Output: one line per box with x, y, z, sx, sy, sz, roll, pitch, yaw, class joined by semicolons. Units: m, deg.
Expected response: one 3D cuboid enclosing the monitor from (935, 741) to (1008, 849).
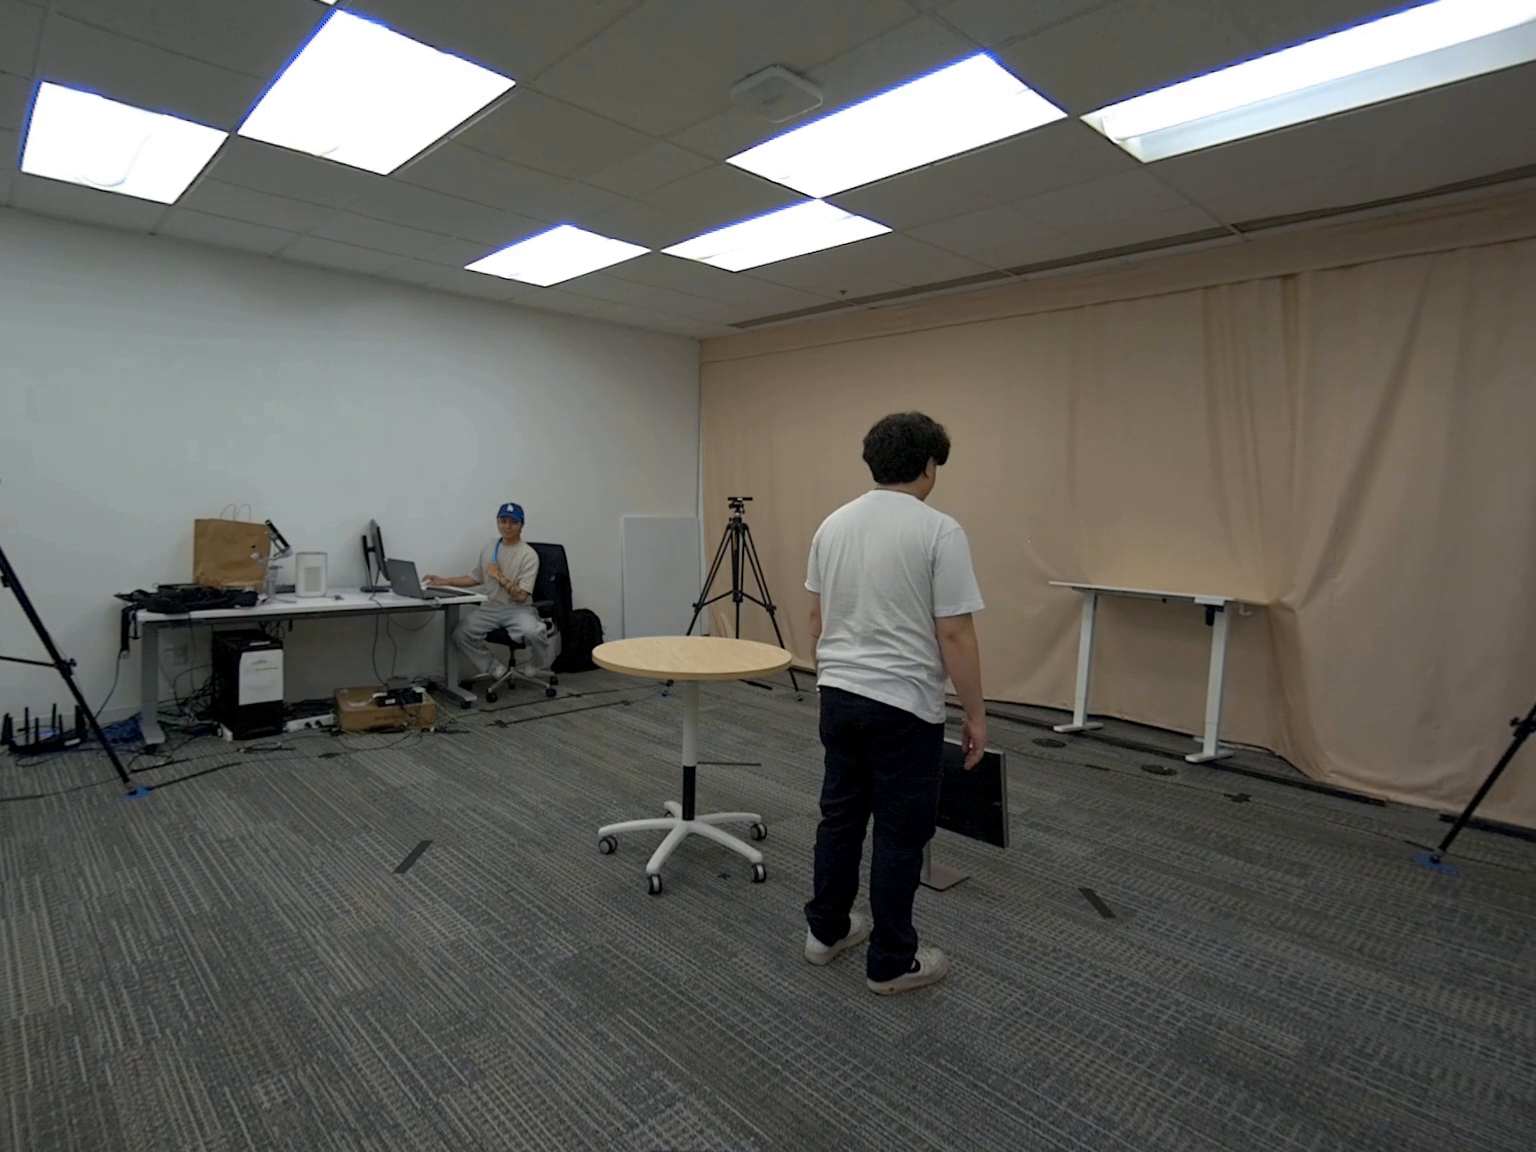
0.591;0.869;3.150;0.205;0.552;0.580;-5;7;-43;monitor
